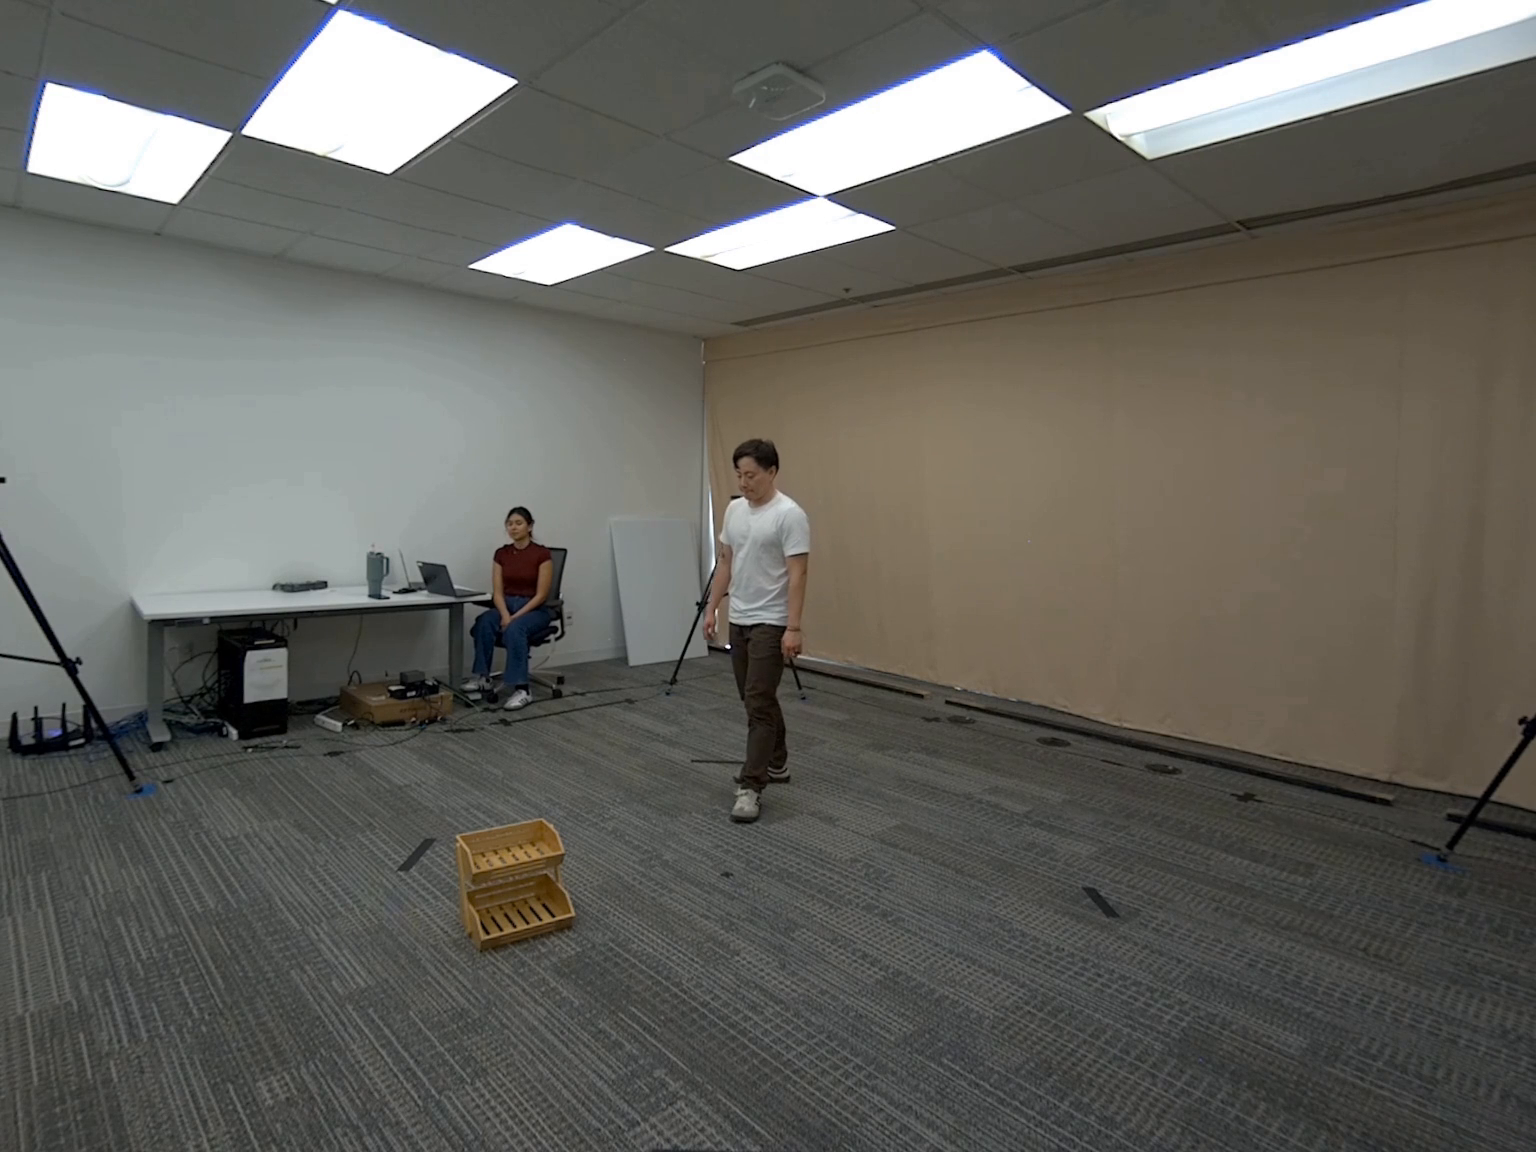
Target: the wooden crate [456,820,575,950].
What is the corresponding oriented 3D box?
[{"bbox_3d":[-0.829,0.991,2.724,0.317,0.272,0.309,-1,5,-34],"label":"wooden crate"}]
